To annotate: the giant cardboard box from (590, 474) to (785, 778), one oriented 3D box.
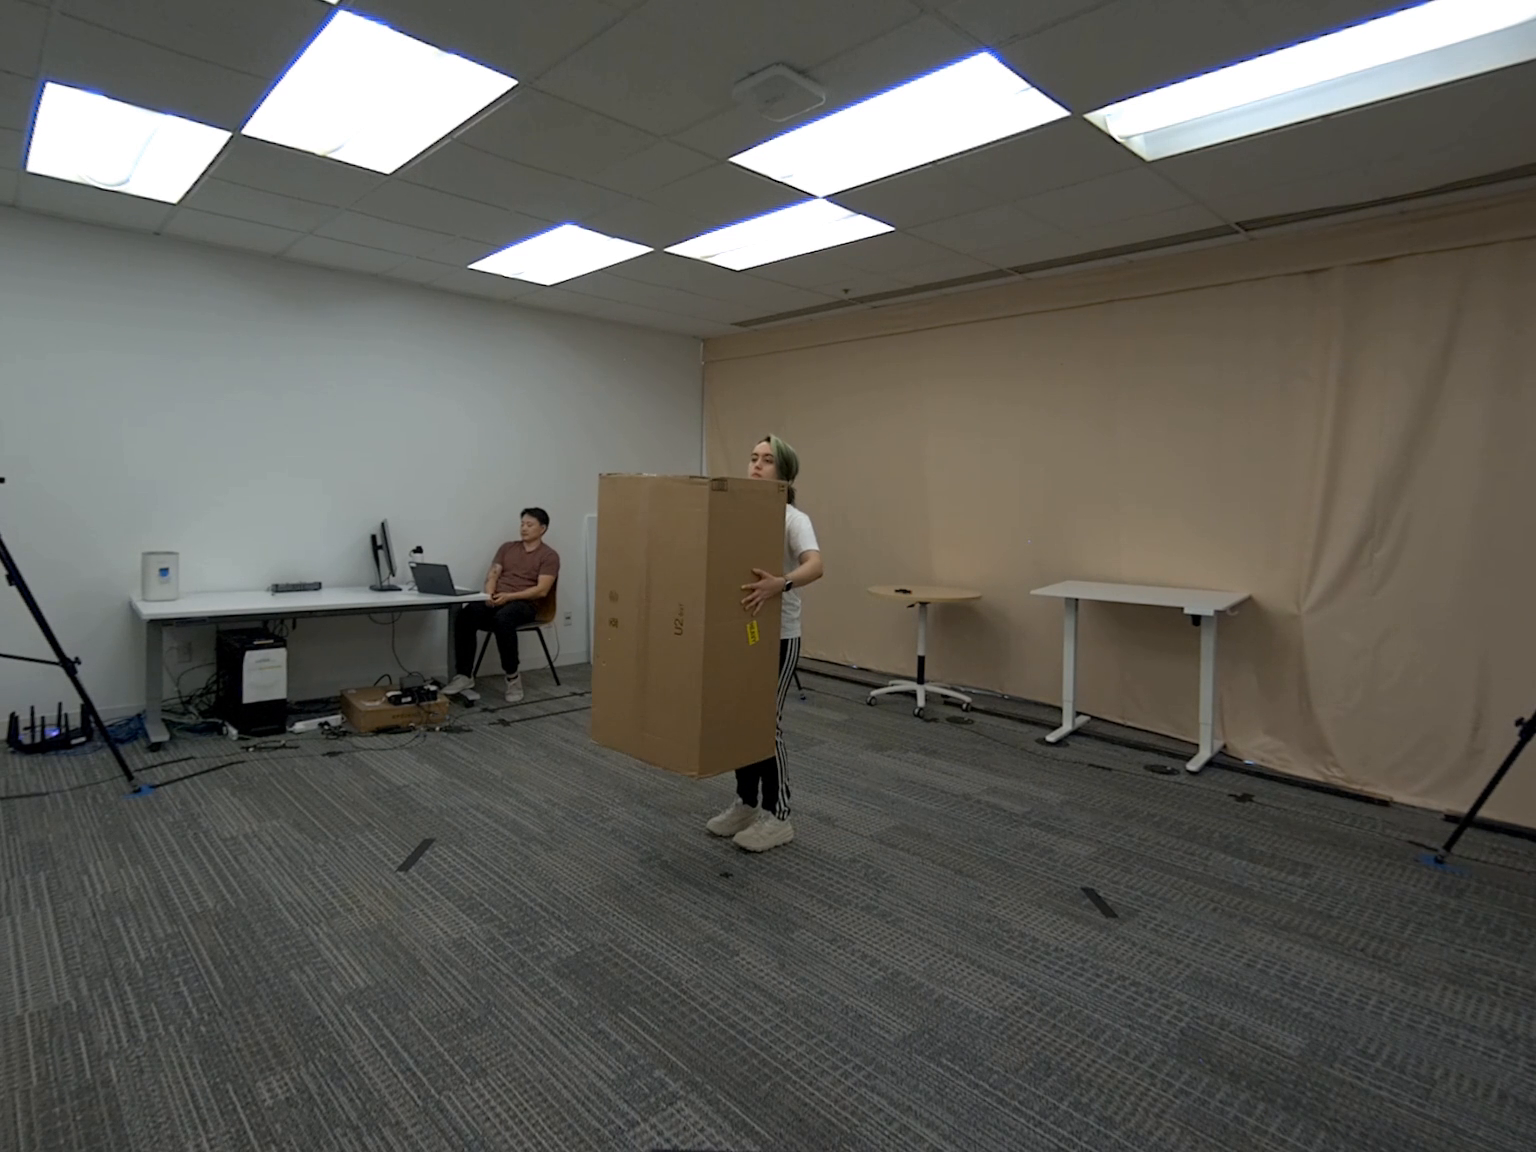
[{"bbox_3d":[-0.305,0.144,3.135,0.592,1.023,0.416,6,4,40],"label":"giant cardboard box"}]
